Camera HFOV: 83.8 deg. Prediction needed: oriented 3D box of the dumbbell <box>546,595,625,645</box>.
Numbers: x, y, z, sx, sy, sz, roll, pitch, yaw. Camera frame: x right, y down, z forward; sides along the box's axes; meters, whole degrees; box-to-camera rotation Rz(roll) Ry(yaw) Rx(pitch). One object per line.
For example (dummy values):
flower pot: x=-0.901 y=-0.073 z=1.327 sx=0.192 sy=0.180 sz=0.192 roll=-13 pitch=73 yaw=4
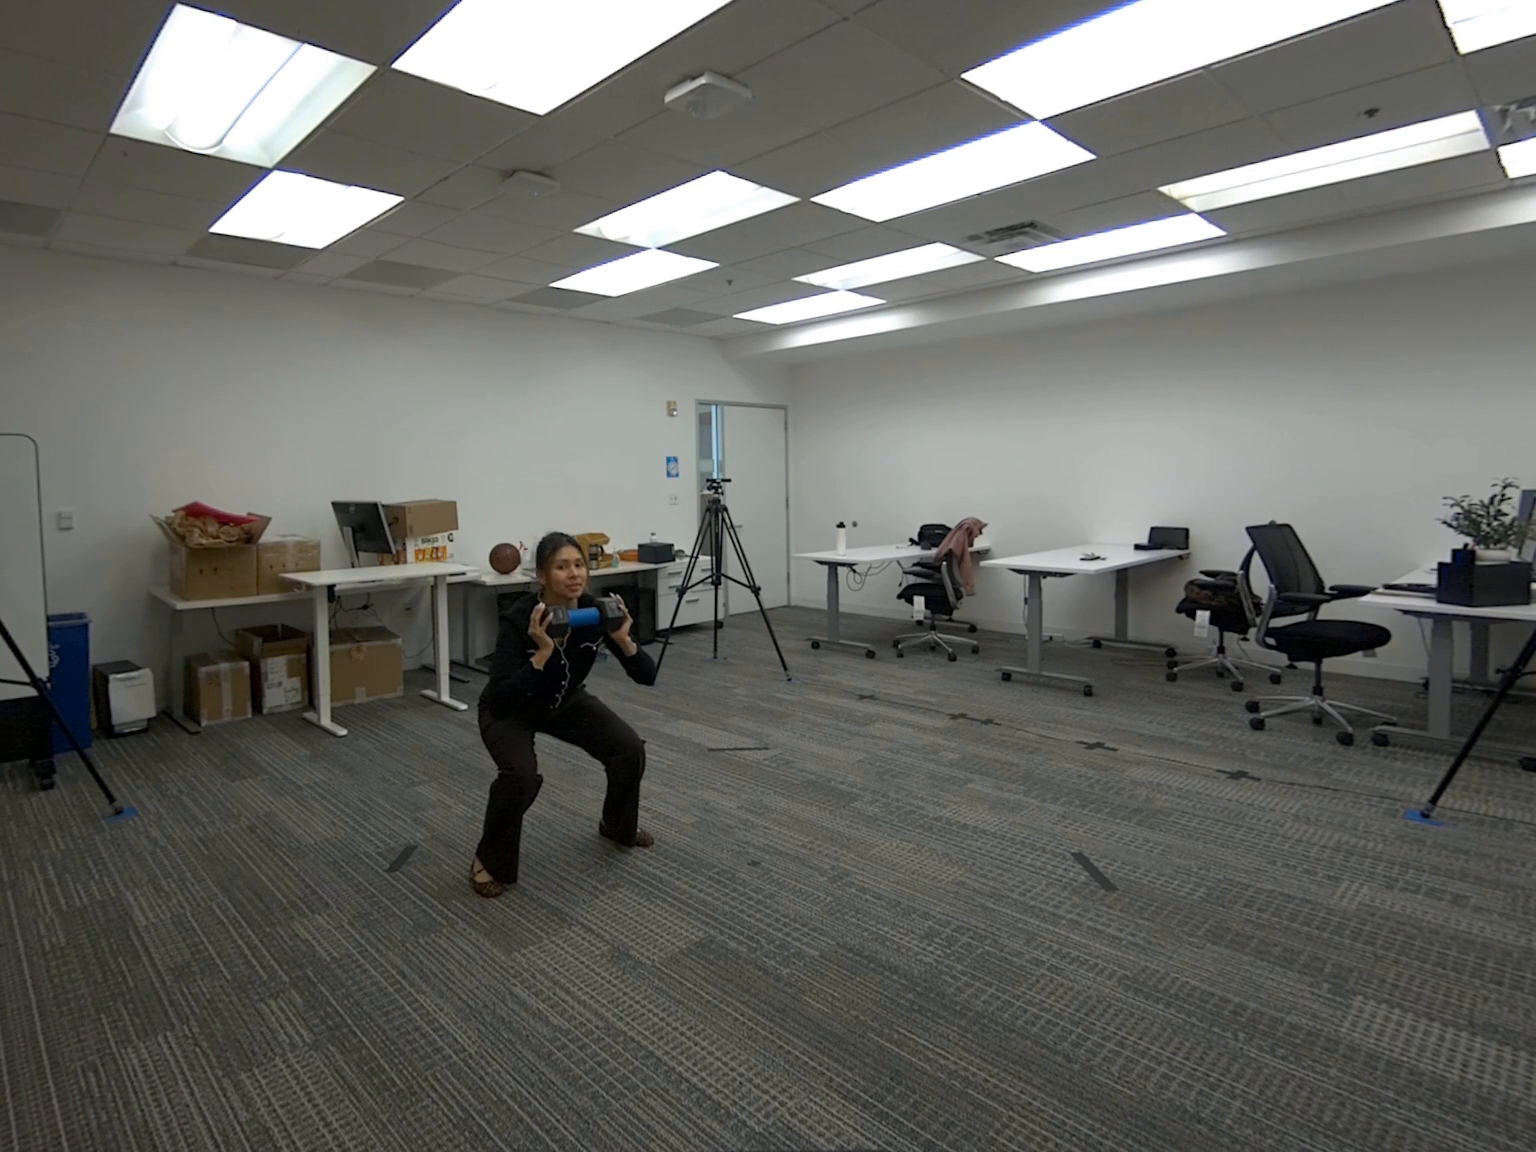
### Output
dumbbell: x=-0.650 y=0.136 z=2.895 sx=0.286 sy=0.126 sz=0.109 roll=-5 pitch=-27 yaw=-37
